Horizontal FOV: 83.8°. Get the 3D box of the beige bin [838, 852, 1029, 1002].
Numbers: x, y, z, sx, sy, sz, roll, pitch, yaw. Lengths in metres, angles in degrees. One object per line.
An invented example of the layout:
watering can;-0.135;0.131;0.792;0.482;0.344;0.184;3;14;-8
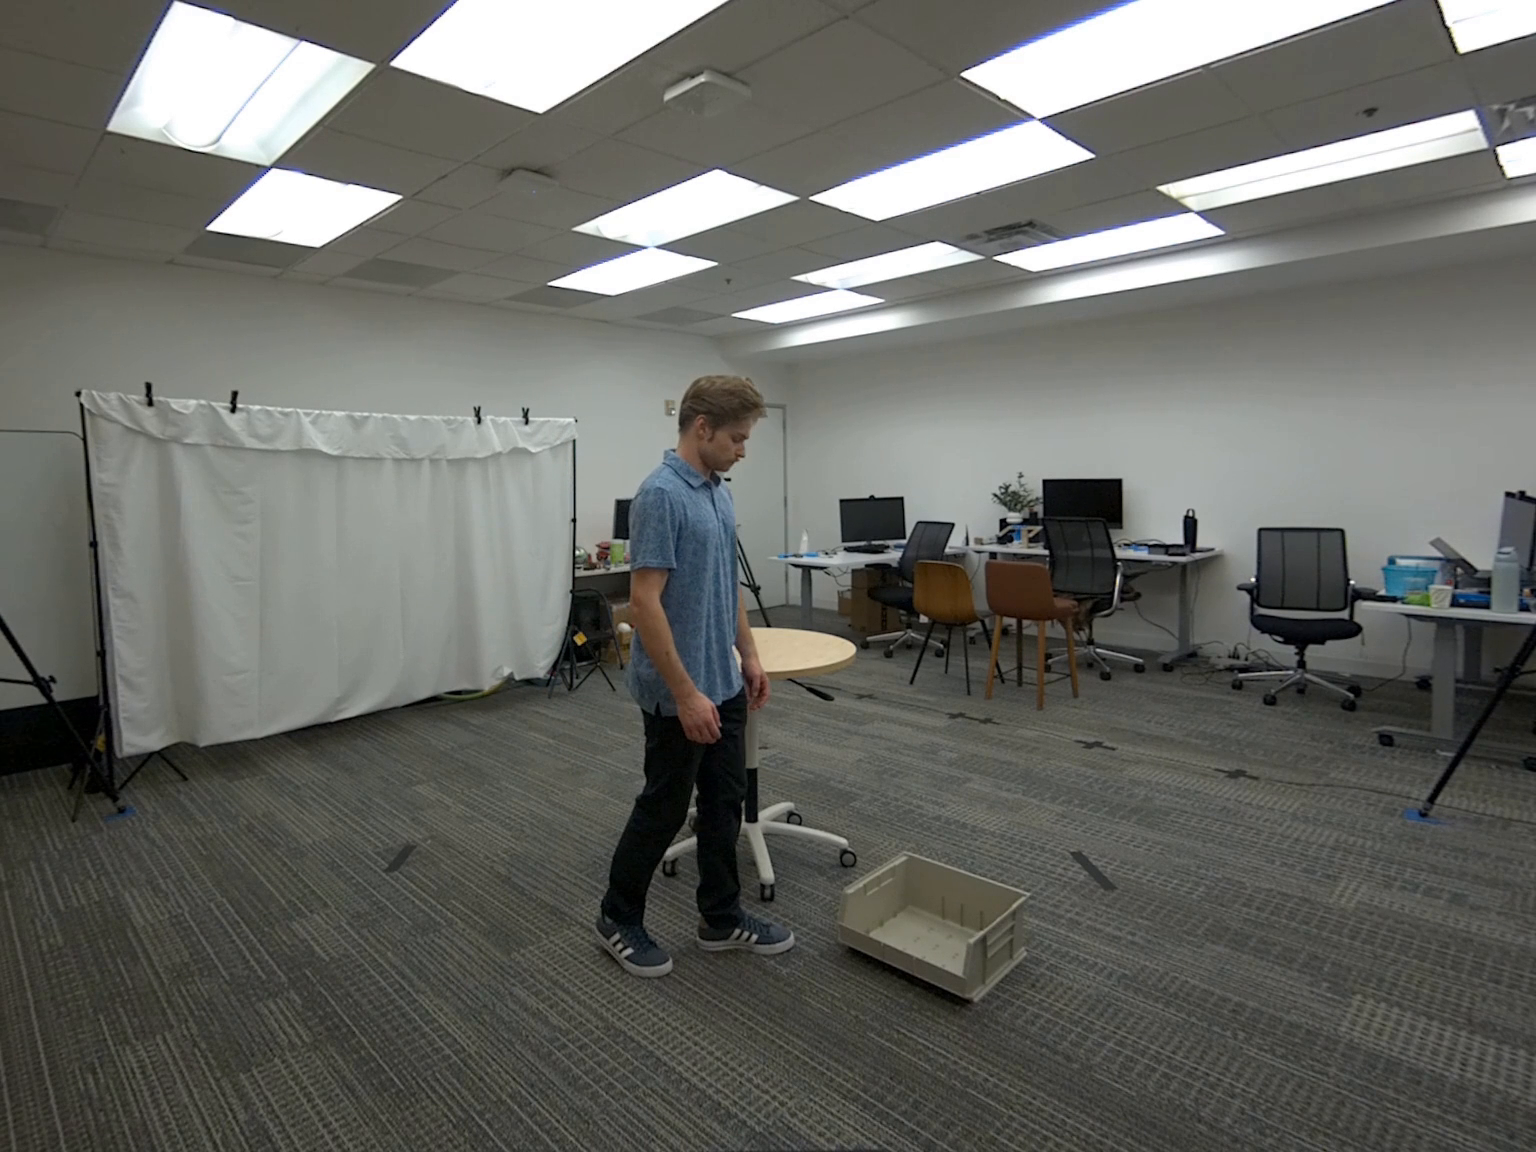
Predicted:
beige bin;0.488;1.017;2.493;0.435;0.188;0.367;3;7;42
